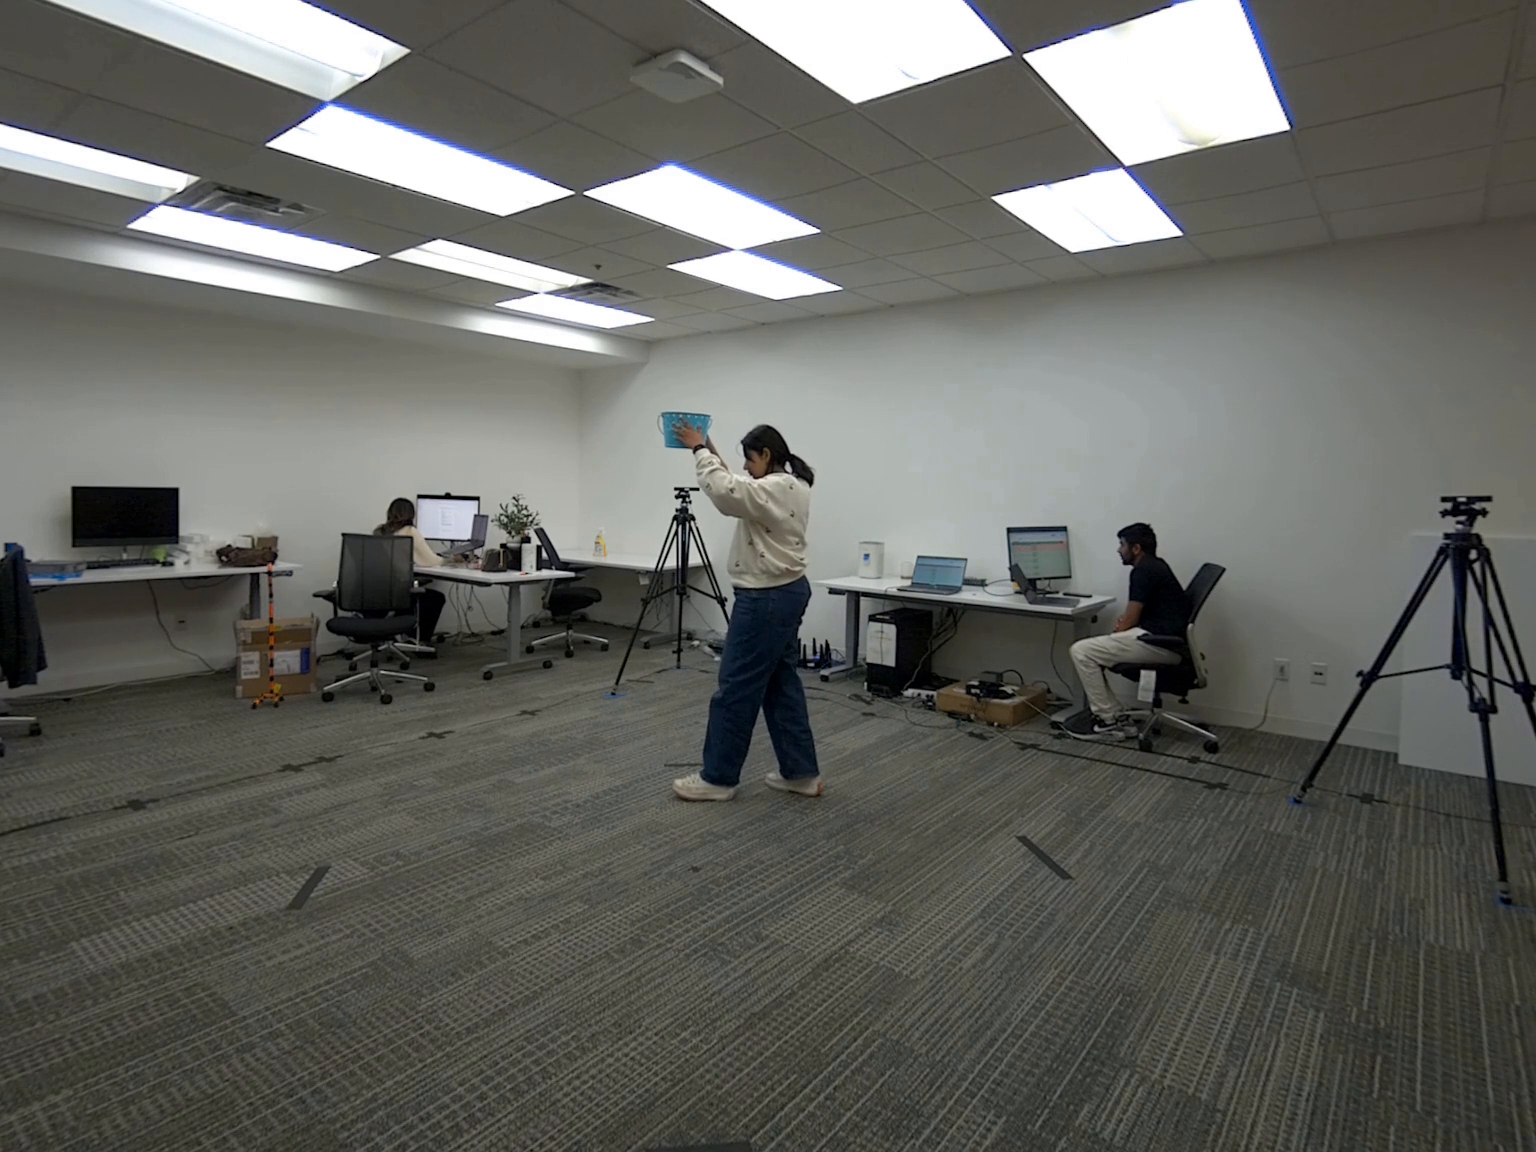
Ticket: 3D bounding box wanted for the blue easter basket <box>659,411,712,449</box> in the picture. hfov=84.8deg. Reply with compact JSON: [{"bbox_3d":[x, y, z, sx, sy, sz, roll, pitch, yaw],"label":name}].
[{"bbox_3d":[-0.387,-0.669,3.866,0.243,0.155,0.245,4,6,-2],"label":"blue easter basket"}]
